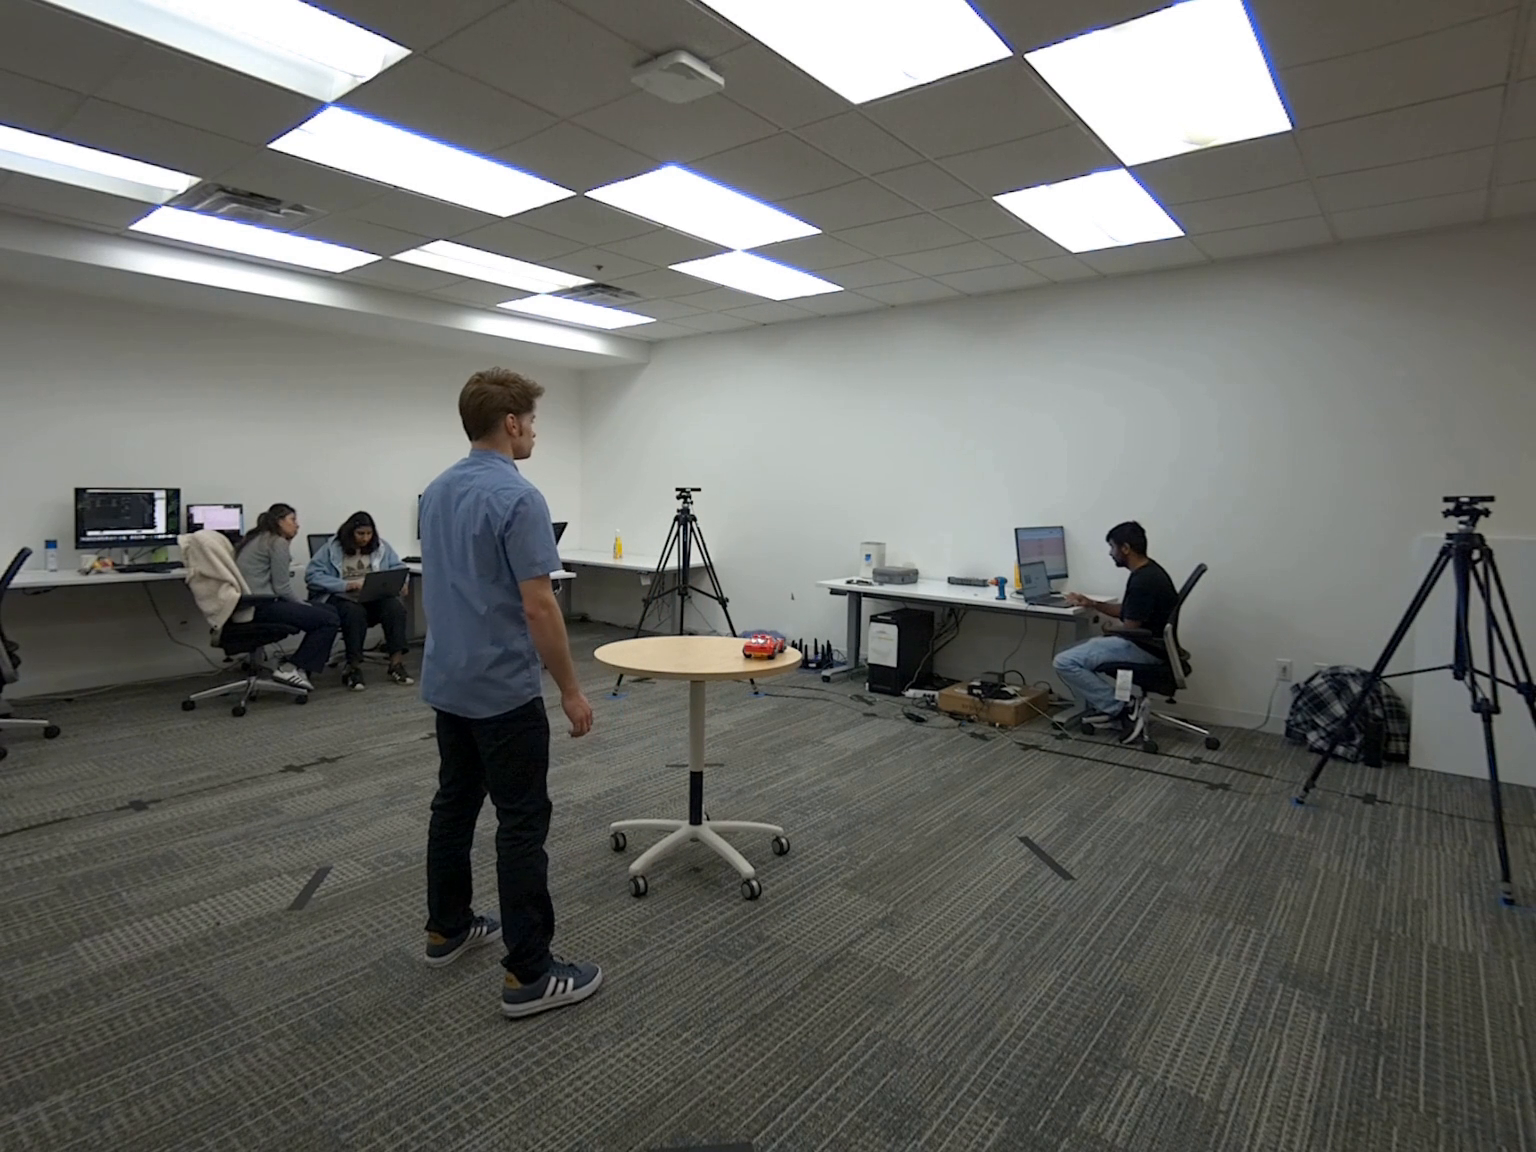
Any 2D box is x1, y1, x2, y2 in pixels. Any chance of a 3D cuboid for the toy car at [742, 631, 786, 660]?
[{"bbox_3d":[-0.028,0.257,3.098,0.132,0.084,0.248,3,-6,15],"label":"toy car"}]
